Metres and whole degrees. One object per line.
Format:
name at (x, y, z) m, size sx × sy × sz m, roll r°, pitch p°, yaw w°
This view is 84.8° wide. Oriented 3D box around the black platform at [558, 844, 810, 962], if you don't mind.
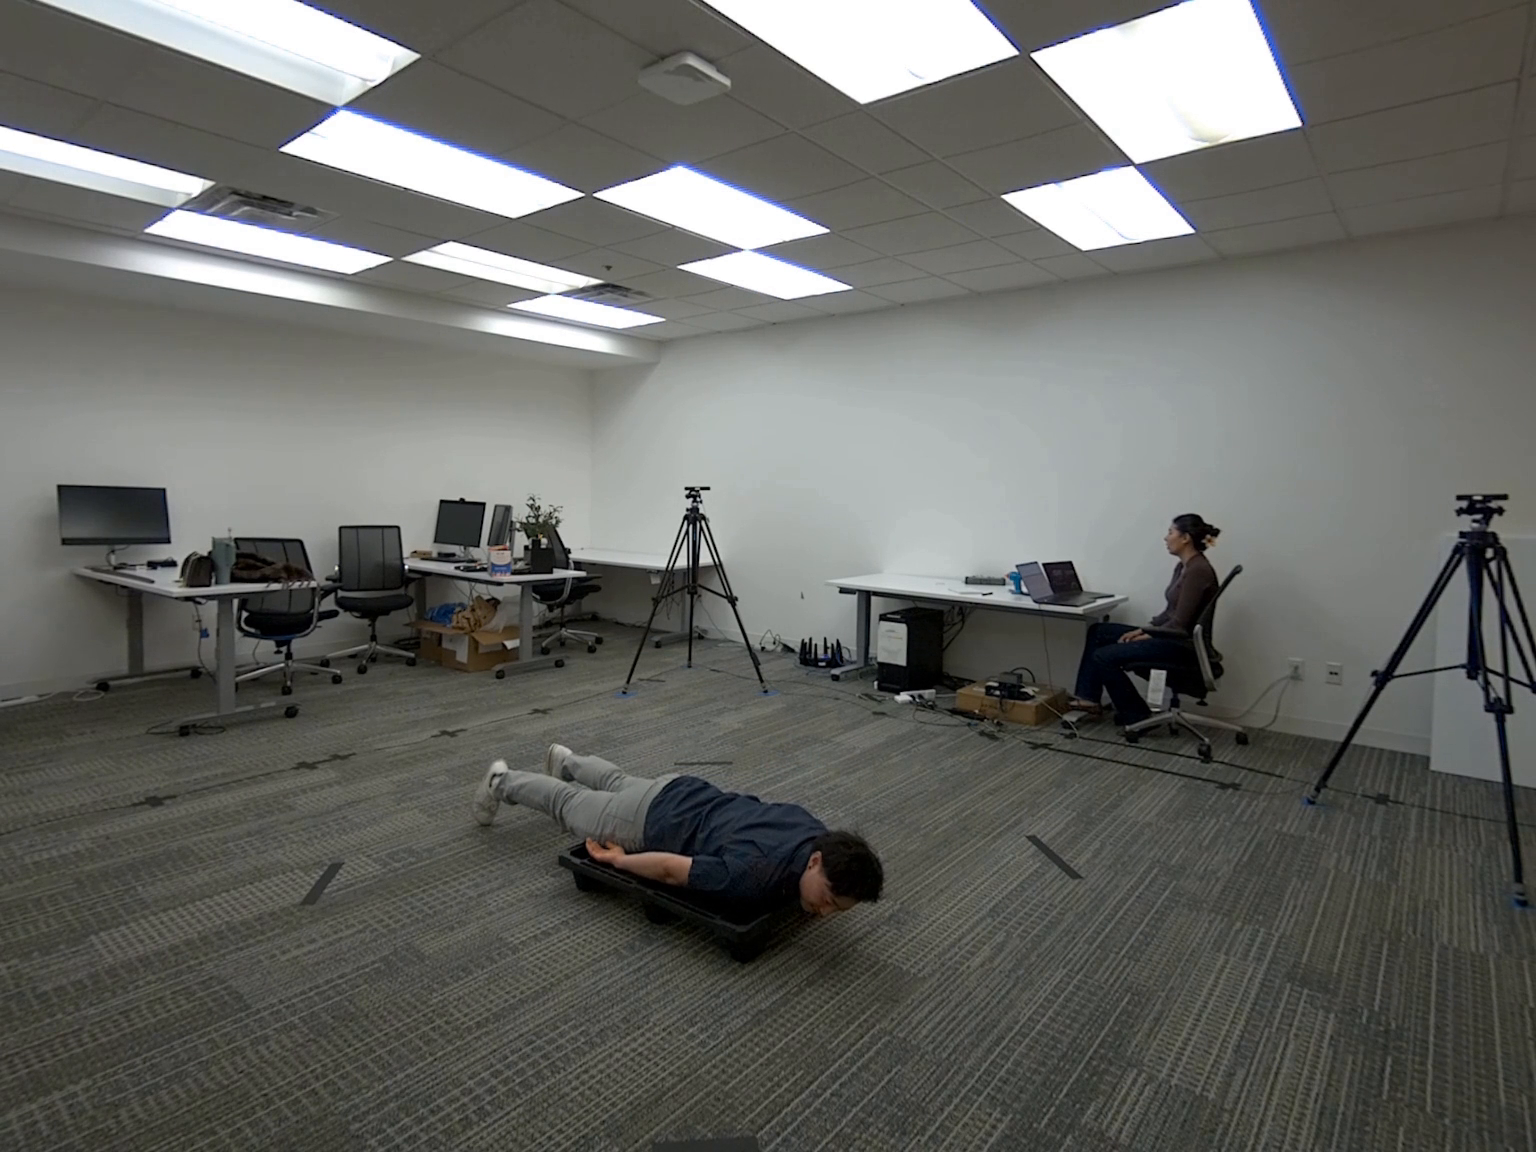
black platform at (-0.242, 1.023, 2.883) m, size 0.832 × 0.142 × 0.588 m, roll 5°, pitch 8°, yaw 36°
